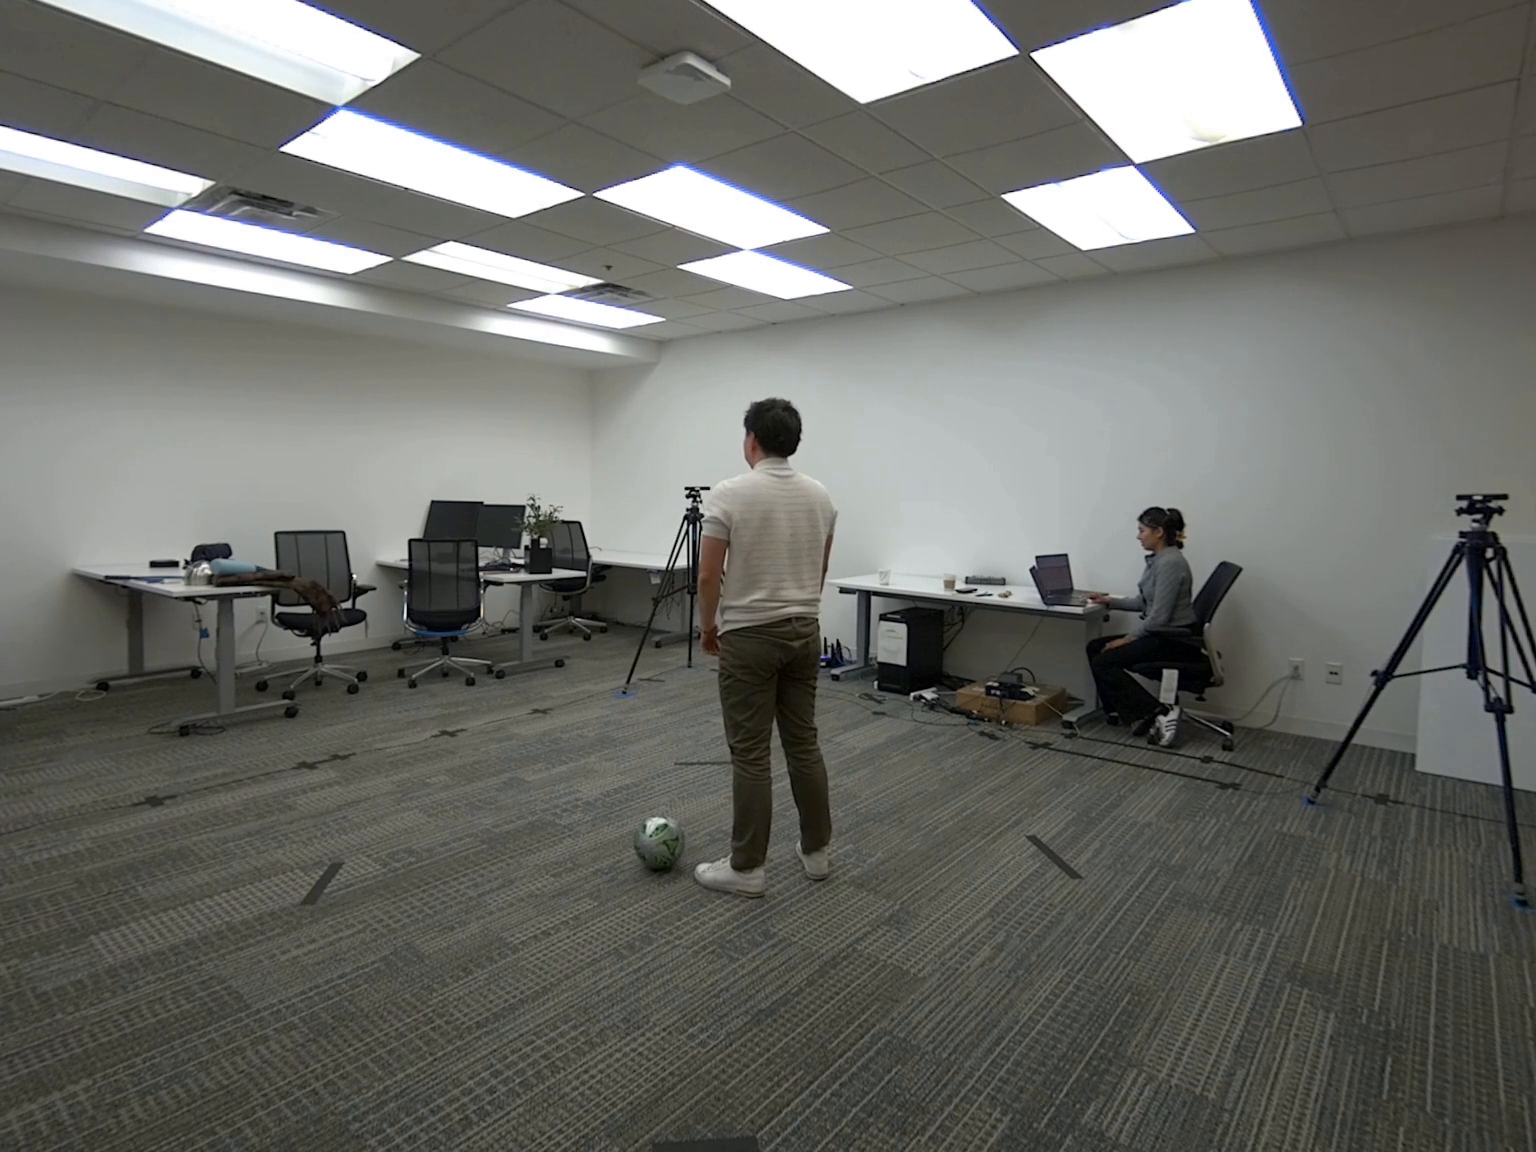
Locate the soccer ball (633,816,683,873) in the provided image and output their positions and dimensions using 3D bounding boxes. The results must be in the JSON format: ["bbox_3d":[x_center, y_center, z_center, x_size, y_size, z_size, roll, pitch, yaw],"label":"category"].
[{"bbox_3d":[-0.404,0.975,3.107,0.187,0.187,0.188,1,4,-2],"label":"soccer ball"}]
